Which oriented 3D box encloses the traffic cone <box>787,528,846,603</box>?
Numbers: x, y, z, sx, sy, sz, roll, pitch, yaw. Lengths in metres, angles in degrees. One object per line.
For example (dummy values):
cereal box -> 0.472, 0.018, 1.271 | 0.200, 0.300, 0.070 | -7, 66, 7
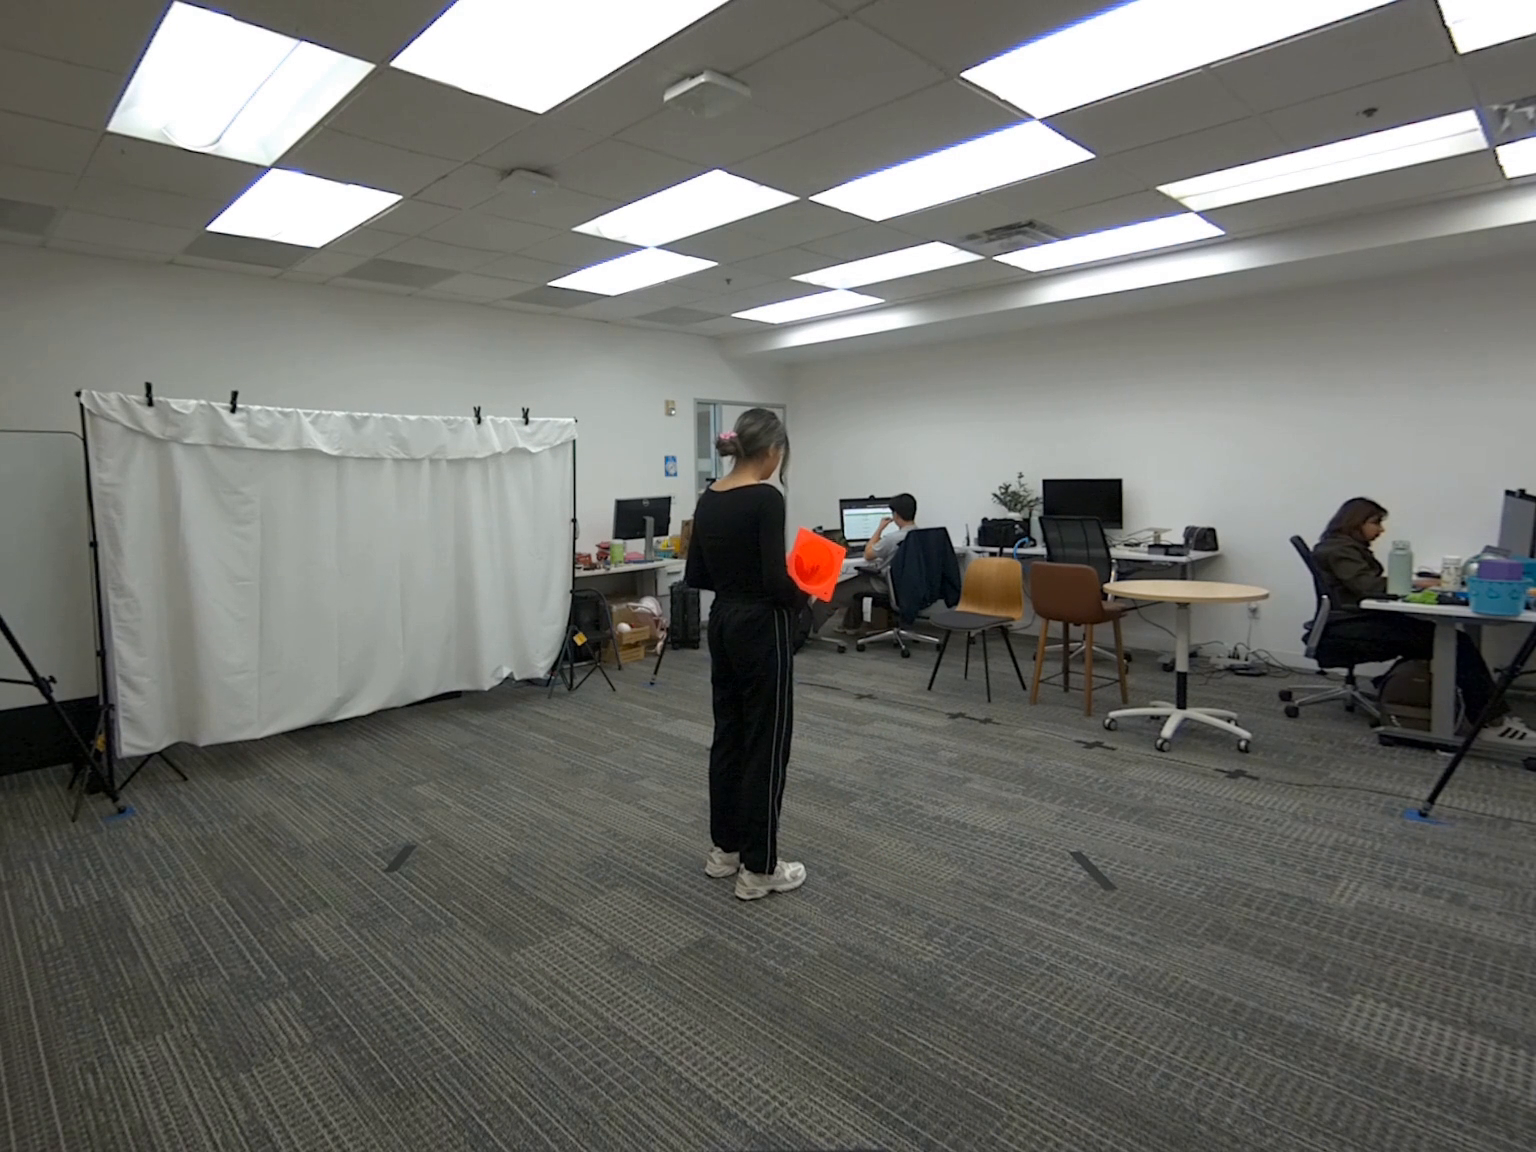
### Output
traffic cone -> 0.100, -0.036, 3.084 | 0.201, 0.204, 0.389 | 25, -9, -16
